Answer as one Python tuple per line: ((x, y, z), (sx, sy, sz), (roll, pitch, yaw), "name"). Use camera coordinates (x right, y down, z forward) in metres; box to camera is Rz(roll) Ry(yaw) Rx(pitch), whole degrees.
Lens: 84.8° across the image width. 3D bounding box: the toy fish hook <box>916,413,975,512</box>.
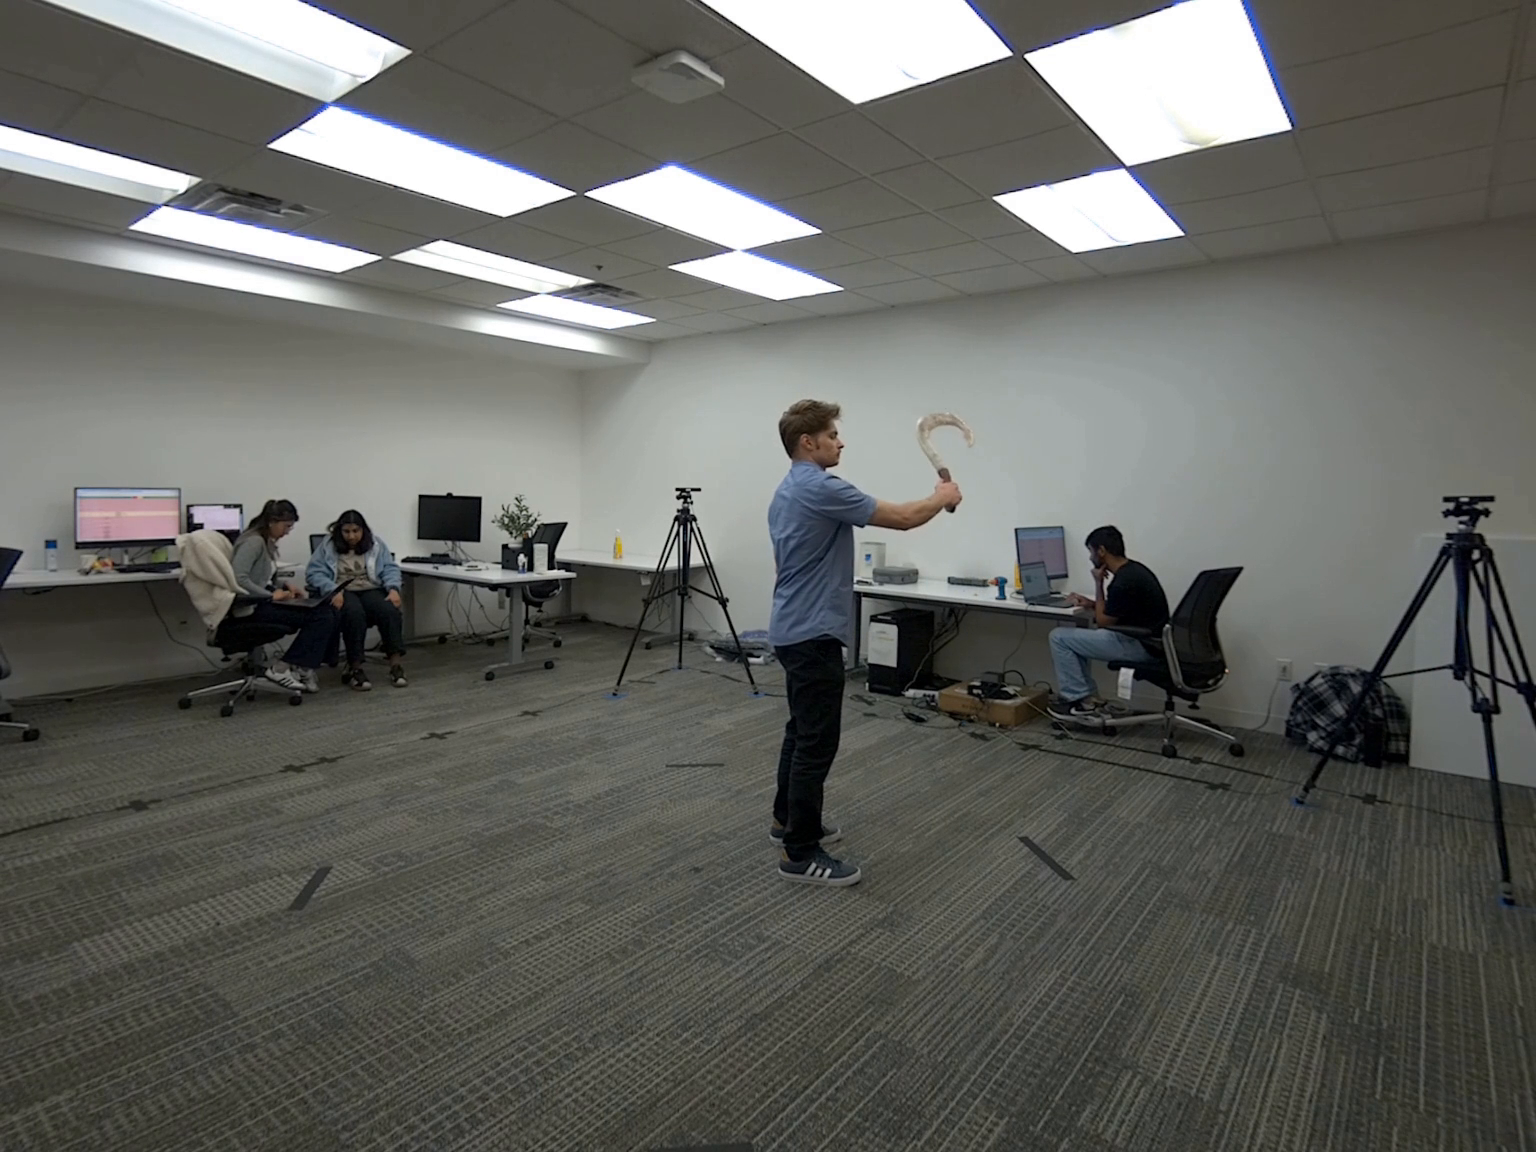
((0.732, -0.450, 3.337), (0.225, 0.522, 0.047), (-8, -33, 2), "toy fish hook")
